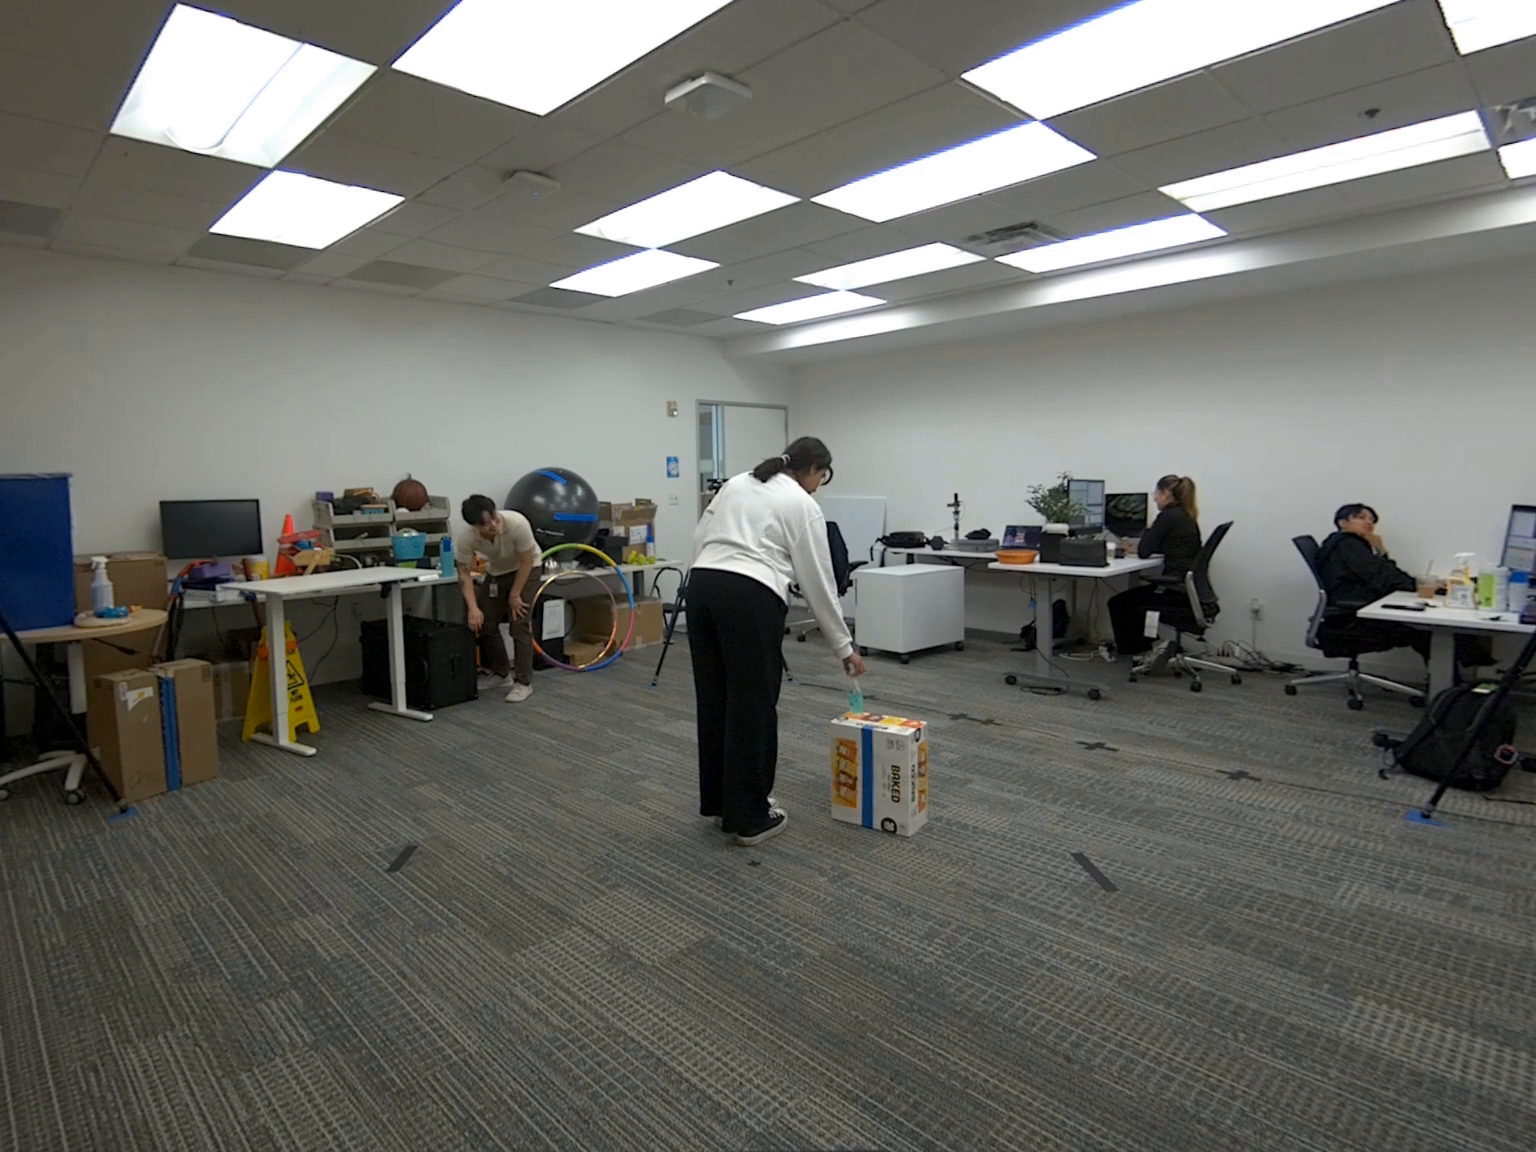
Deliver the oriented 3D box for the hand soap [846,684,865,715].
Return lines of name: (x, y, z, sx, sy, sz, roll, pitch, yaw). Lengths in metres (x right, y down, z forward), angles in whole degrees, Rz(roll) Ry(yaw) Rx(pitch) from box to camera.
hand soap: (0.350, 0.464, 3.461, 0.042, 0.167, 0.087, -7, 6, -28)
